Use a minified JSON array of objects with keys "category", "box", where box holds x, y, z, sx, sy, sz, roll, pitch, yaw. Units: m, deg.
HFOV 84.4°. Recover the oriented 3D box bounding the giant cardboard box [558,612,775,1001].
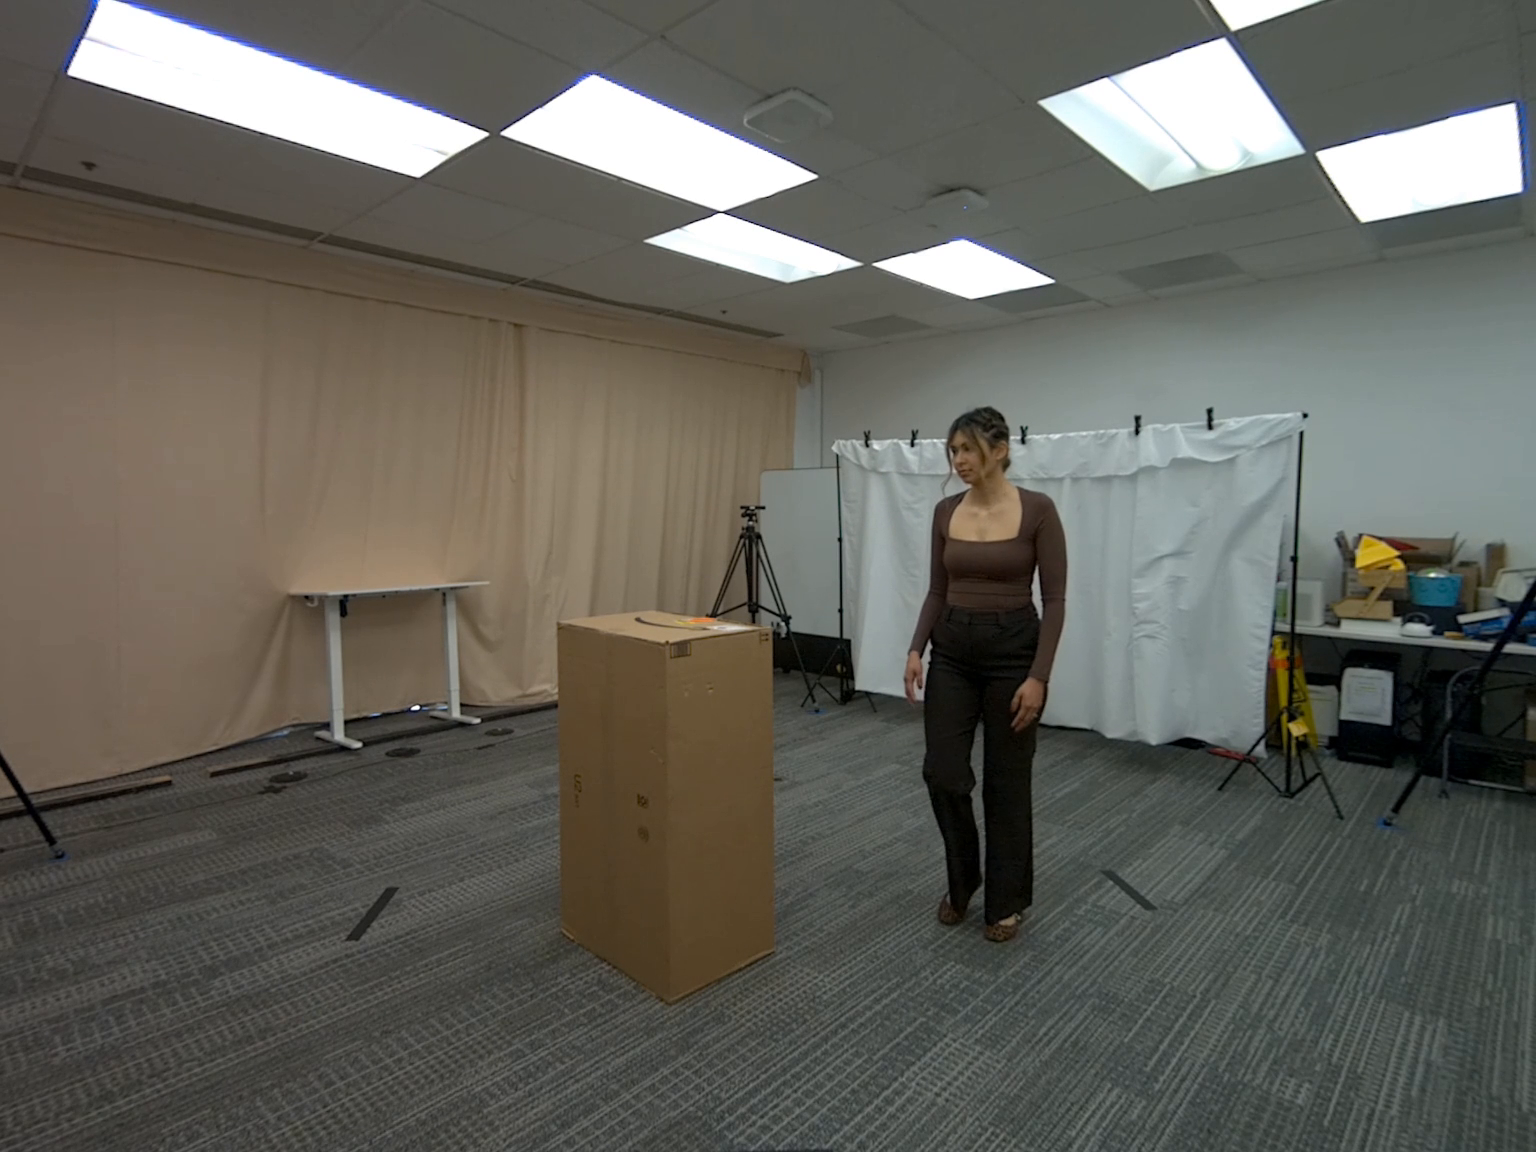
[{"category":"giant cardboard box","box":[-0.329,0.662,2.680,0.433,1.025,0.603,-2,4,-42]}]
